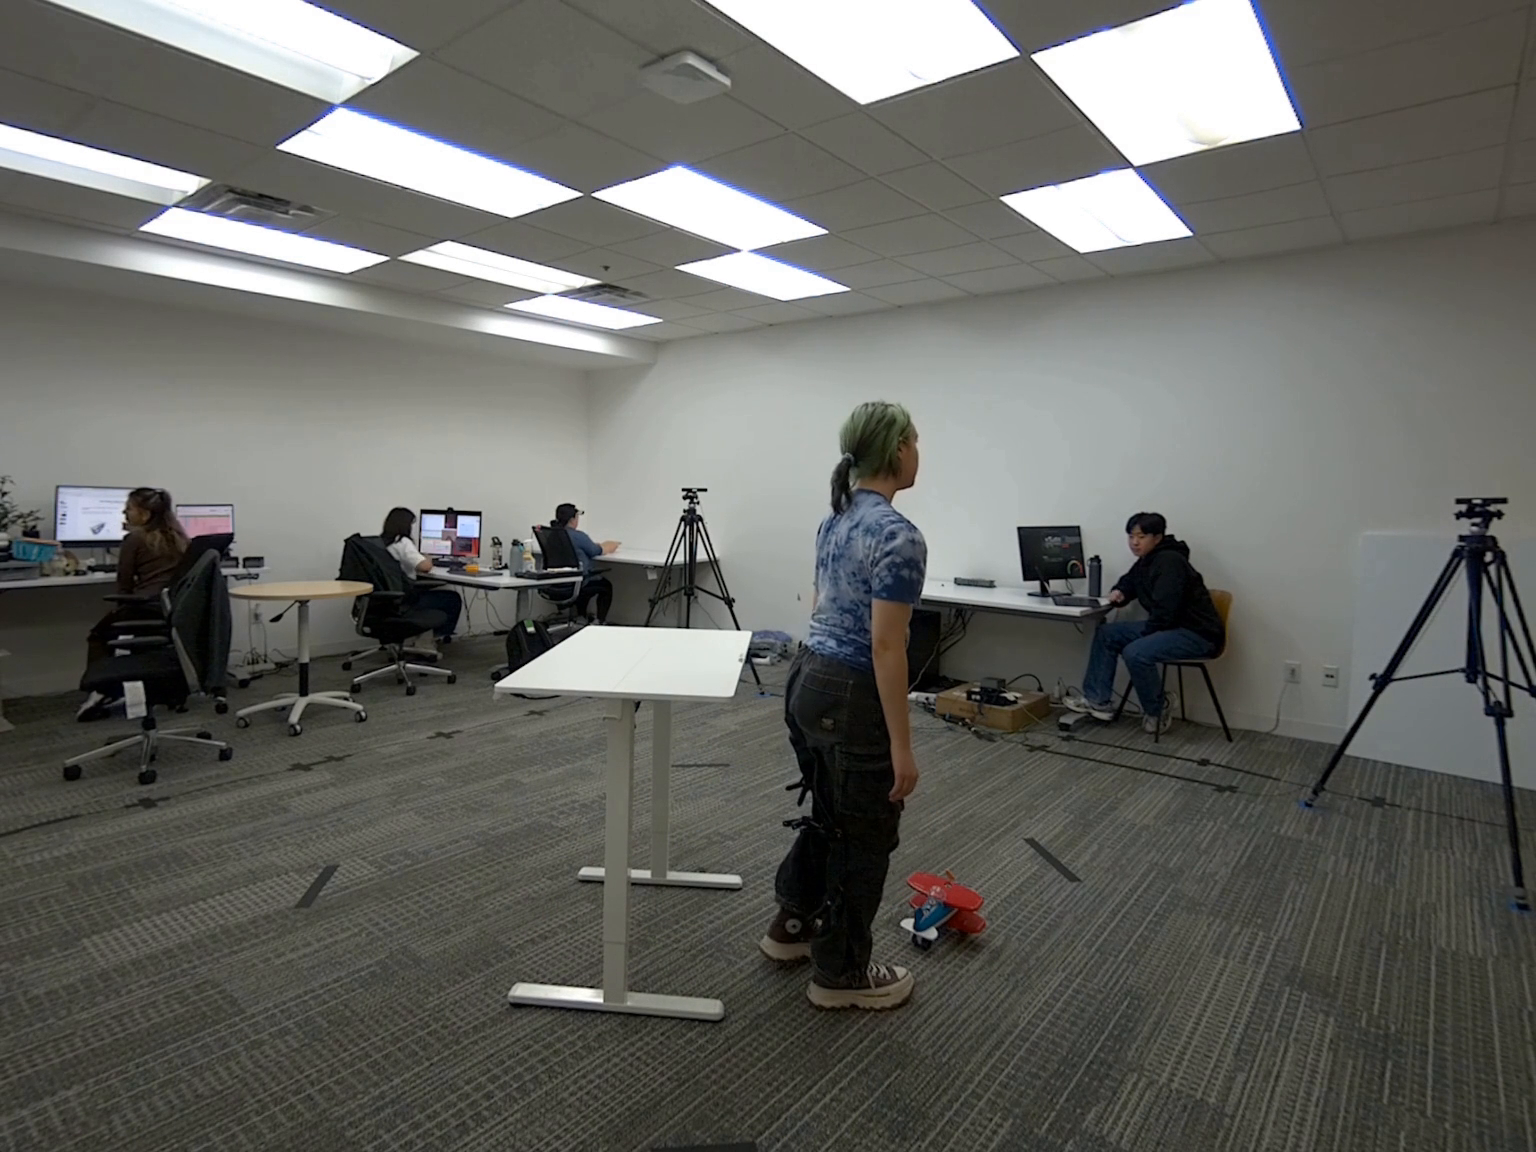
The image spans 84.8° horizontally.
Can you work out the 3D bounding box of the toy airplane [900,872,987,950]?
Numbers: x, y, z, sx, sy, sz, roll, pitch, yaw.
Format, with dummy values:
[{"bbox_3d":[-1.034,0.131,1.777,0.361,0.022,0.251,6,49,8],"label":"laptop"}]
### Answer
[{"bbox_3d":[0.547,1.056,2.662,0.256,0.156,0.255,3,4,18],"label":"toy airplane"}]
